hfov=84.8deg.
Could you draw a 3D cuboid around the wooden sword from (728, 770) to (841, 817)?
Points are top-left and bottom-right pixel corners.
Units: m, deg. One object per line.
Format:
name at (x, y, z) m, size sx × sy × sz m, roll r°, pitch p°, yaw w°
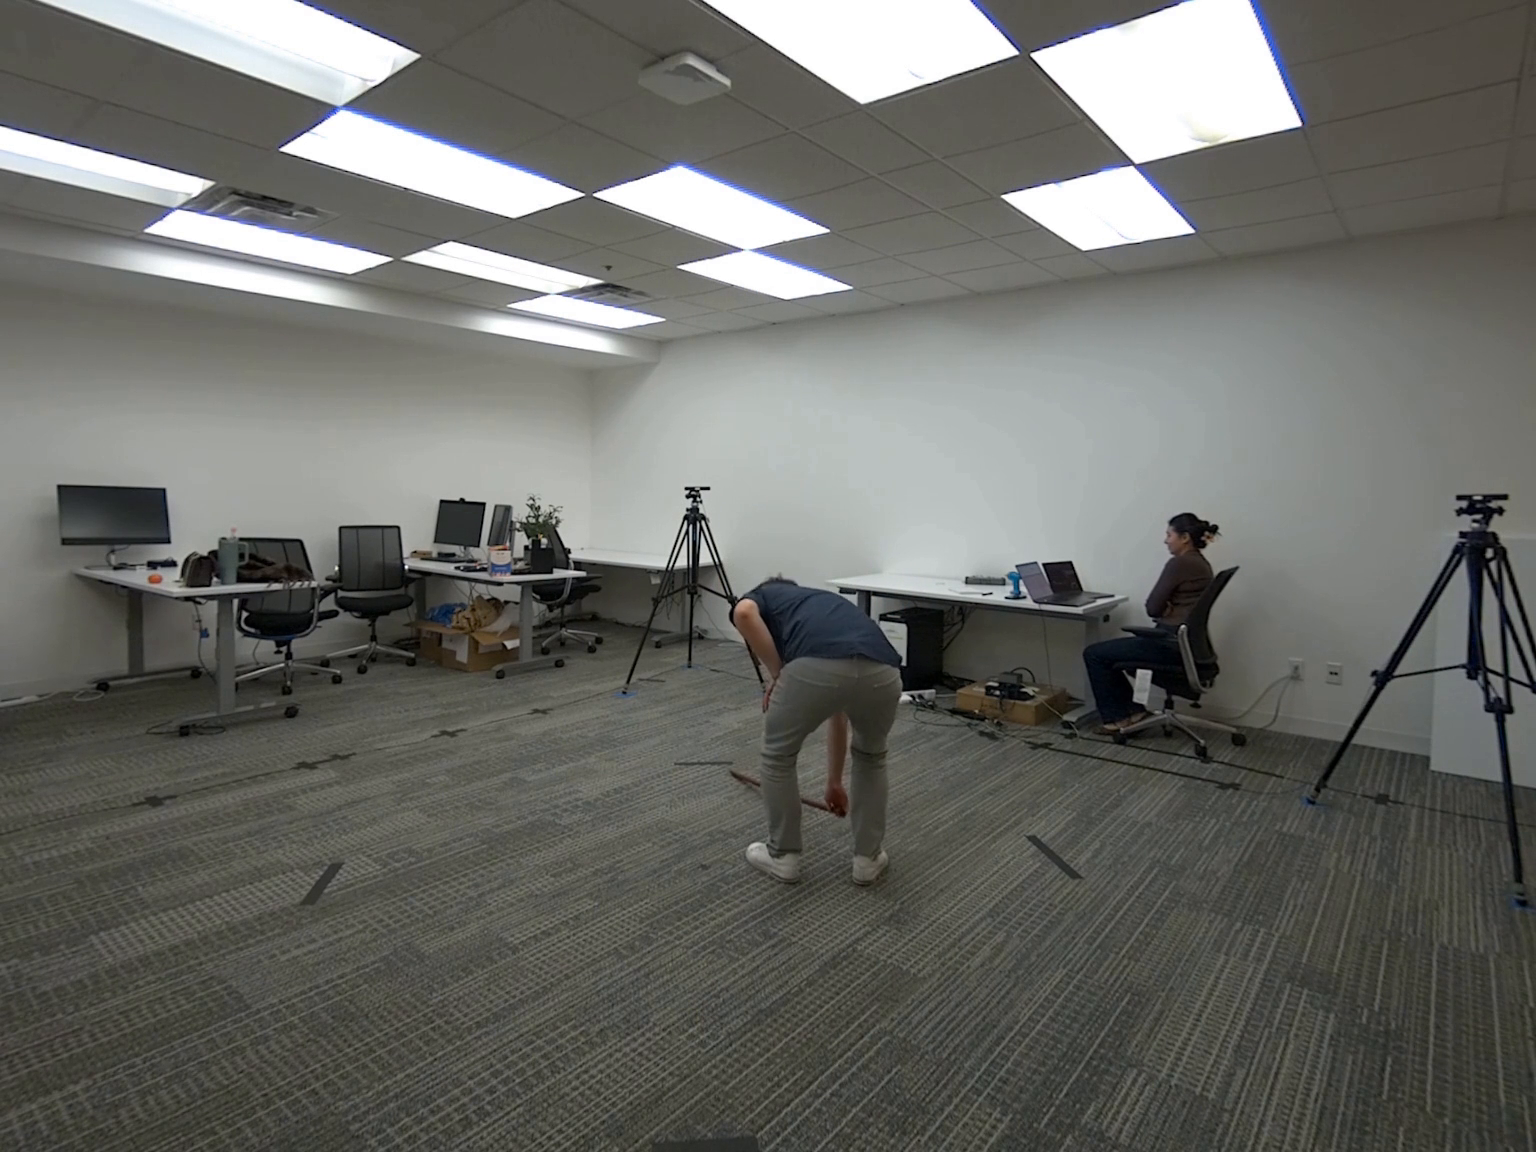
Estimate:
wooden sword at (0.022, 0.944, 3.676) m, size 0.051 × 0.024 × 1.044 m, roll -33°, pitch 12°, yaw -19°
